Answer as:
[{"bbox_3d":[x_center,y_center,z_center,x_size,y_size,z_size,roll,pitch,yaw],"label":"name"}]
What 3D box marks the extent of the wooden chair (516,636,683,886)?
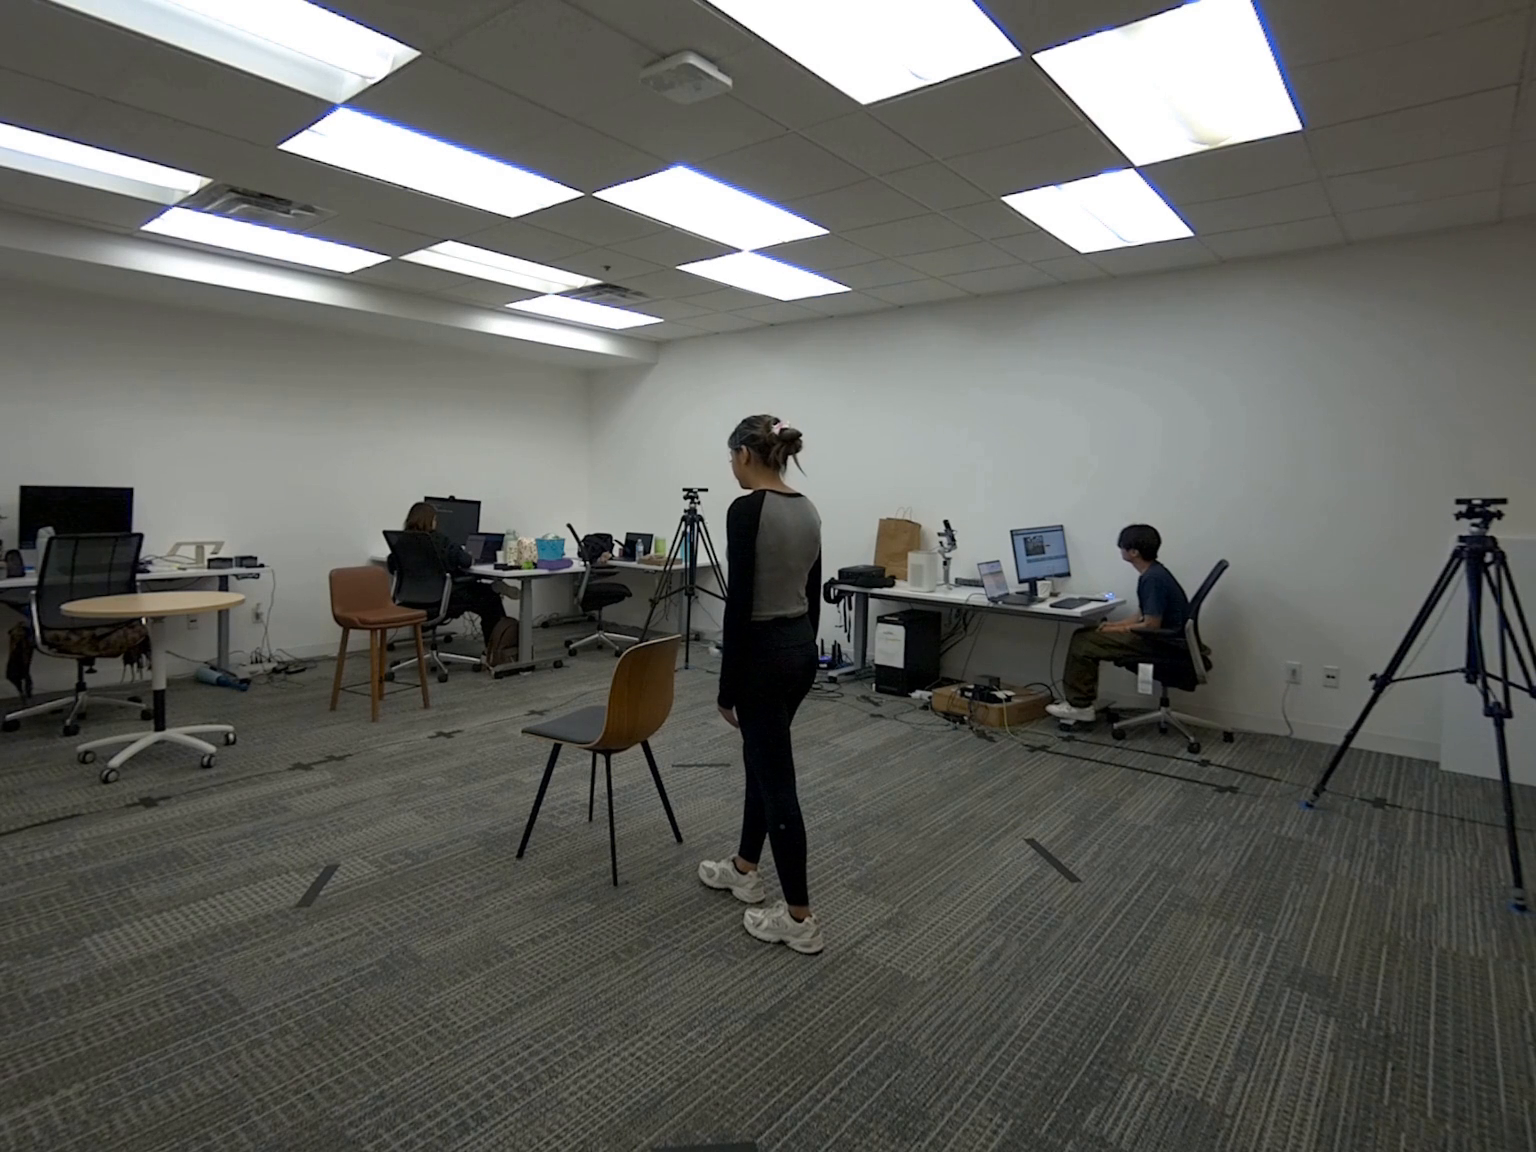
[{"bbox_3d":[-0.647,0.622,3.231,0.539,0.873,0.466,8,6,27],"label":"wooden chair"}]
